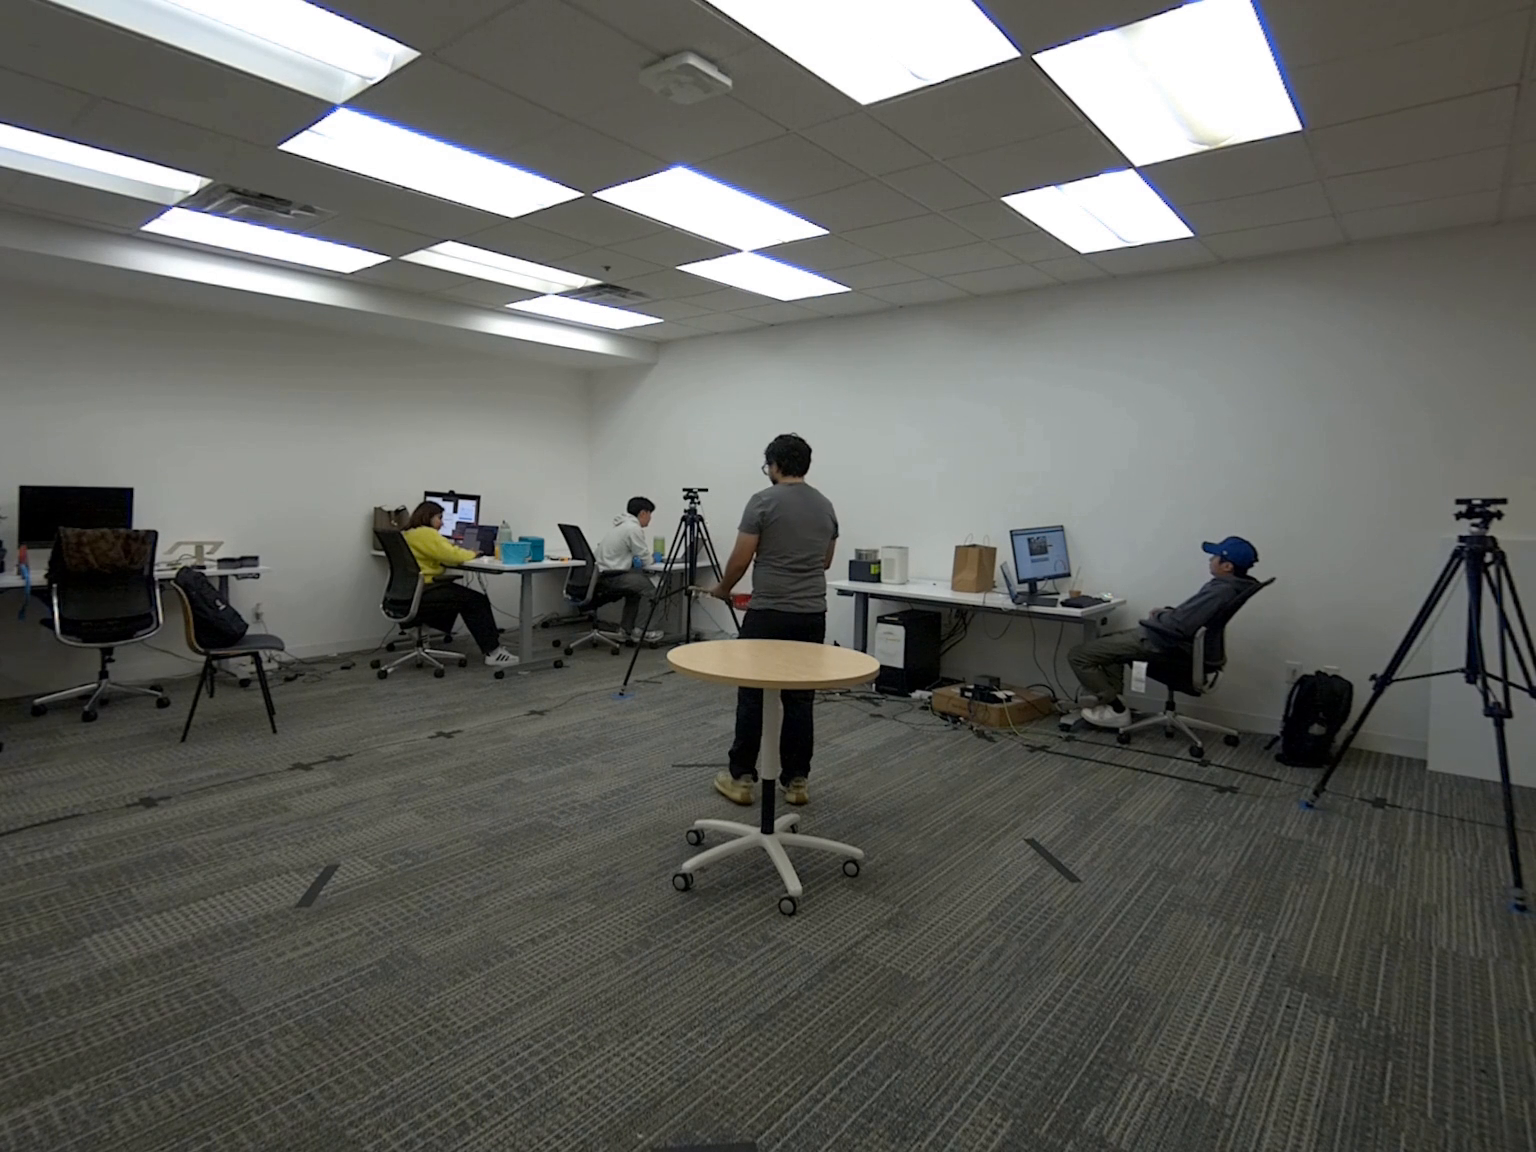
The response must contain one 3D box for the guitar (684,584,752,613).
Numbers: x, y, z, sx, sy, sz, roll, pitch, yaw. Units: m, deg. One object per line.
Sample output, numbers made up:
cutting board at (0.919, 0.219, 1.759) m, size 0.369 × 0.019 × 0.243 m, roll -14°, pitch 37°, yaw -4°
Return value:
guitar at (-0.151, 0.120, 4.123) m, size 0.500 × 0.071 × 0.190 m, roll 6°, pitch -12°, yaw 4°
